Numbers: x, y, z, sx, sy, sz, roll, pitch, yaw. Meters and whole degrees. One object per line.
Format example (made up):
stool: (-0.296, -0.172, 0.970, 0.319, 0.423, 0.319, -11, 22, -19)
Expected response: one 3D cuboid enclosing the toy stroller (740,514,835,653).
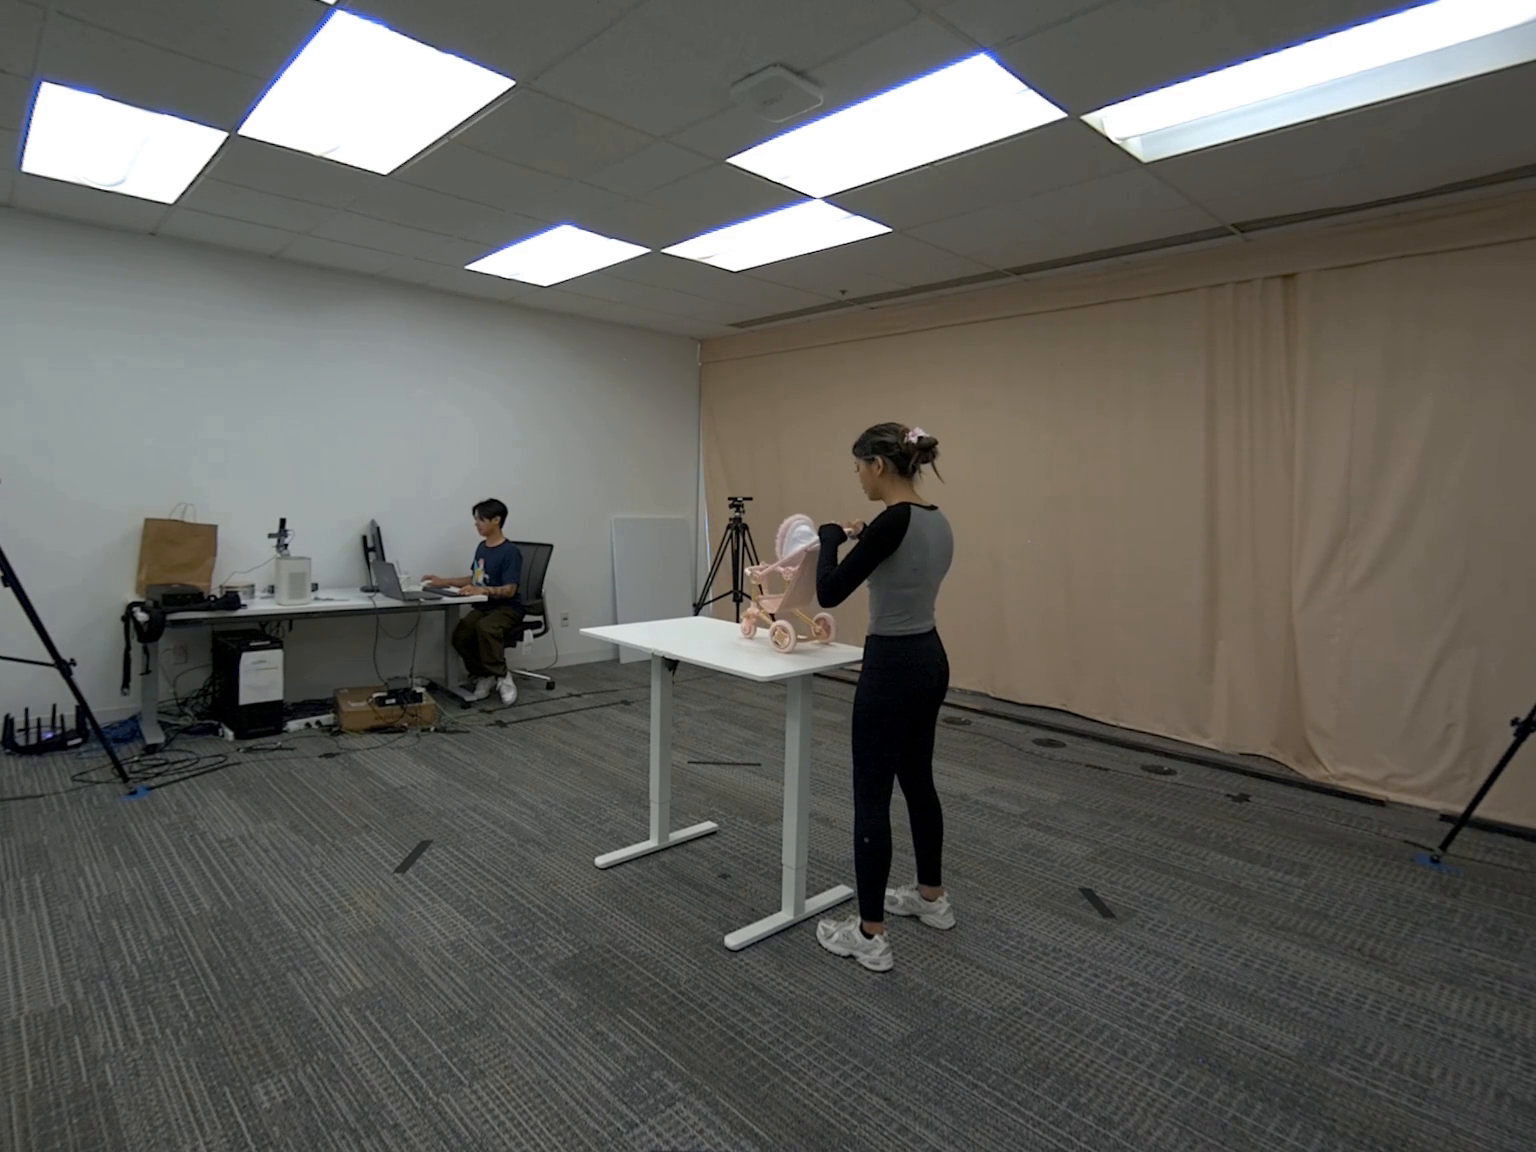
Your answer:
toy stroller: (0.079, 0.024, 2.923, 0.275, 0.530, 0.352, -3, 22, -46)
